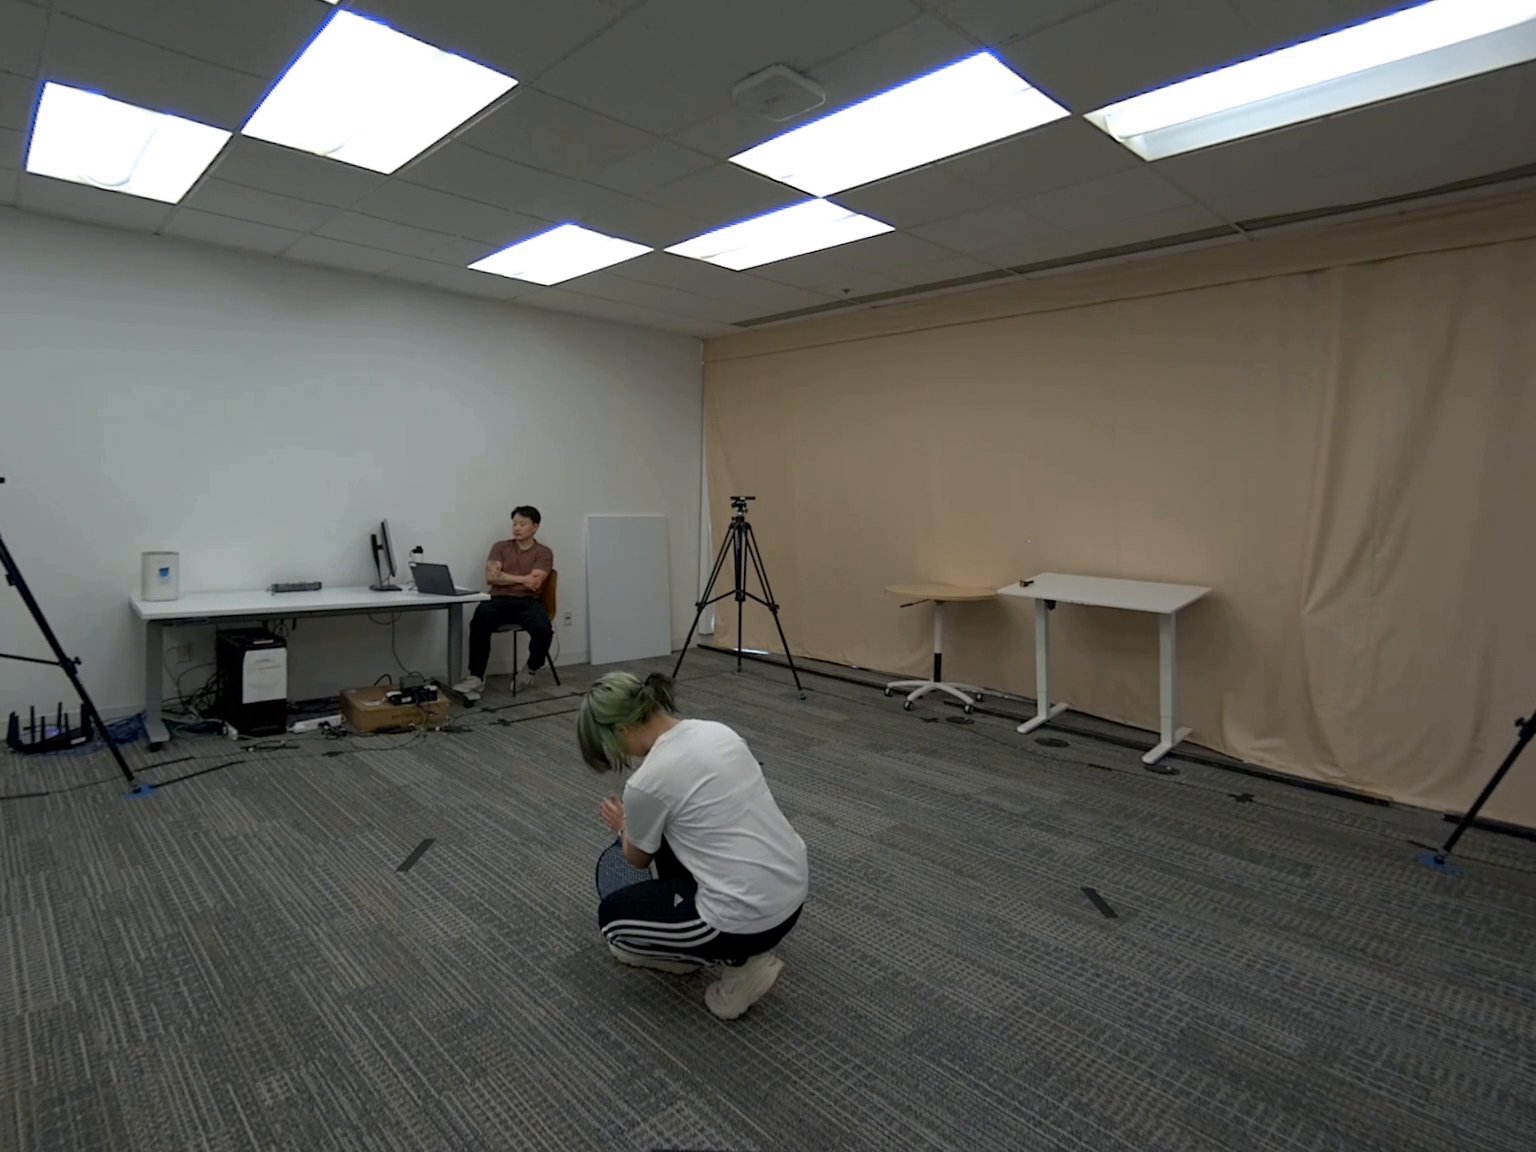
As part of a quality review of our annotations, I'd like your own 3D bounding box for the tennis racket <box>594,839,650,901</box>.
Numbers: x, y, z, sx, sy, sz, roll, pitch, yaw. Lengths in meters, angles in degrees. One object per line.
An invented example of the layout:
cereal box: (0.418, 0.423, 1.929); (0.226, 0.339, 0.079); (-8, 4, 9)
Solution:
tennis racket: (-0.469, 0.928, 2.714); (0.217, 0.432, 0.031); (4, 4, 16)
